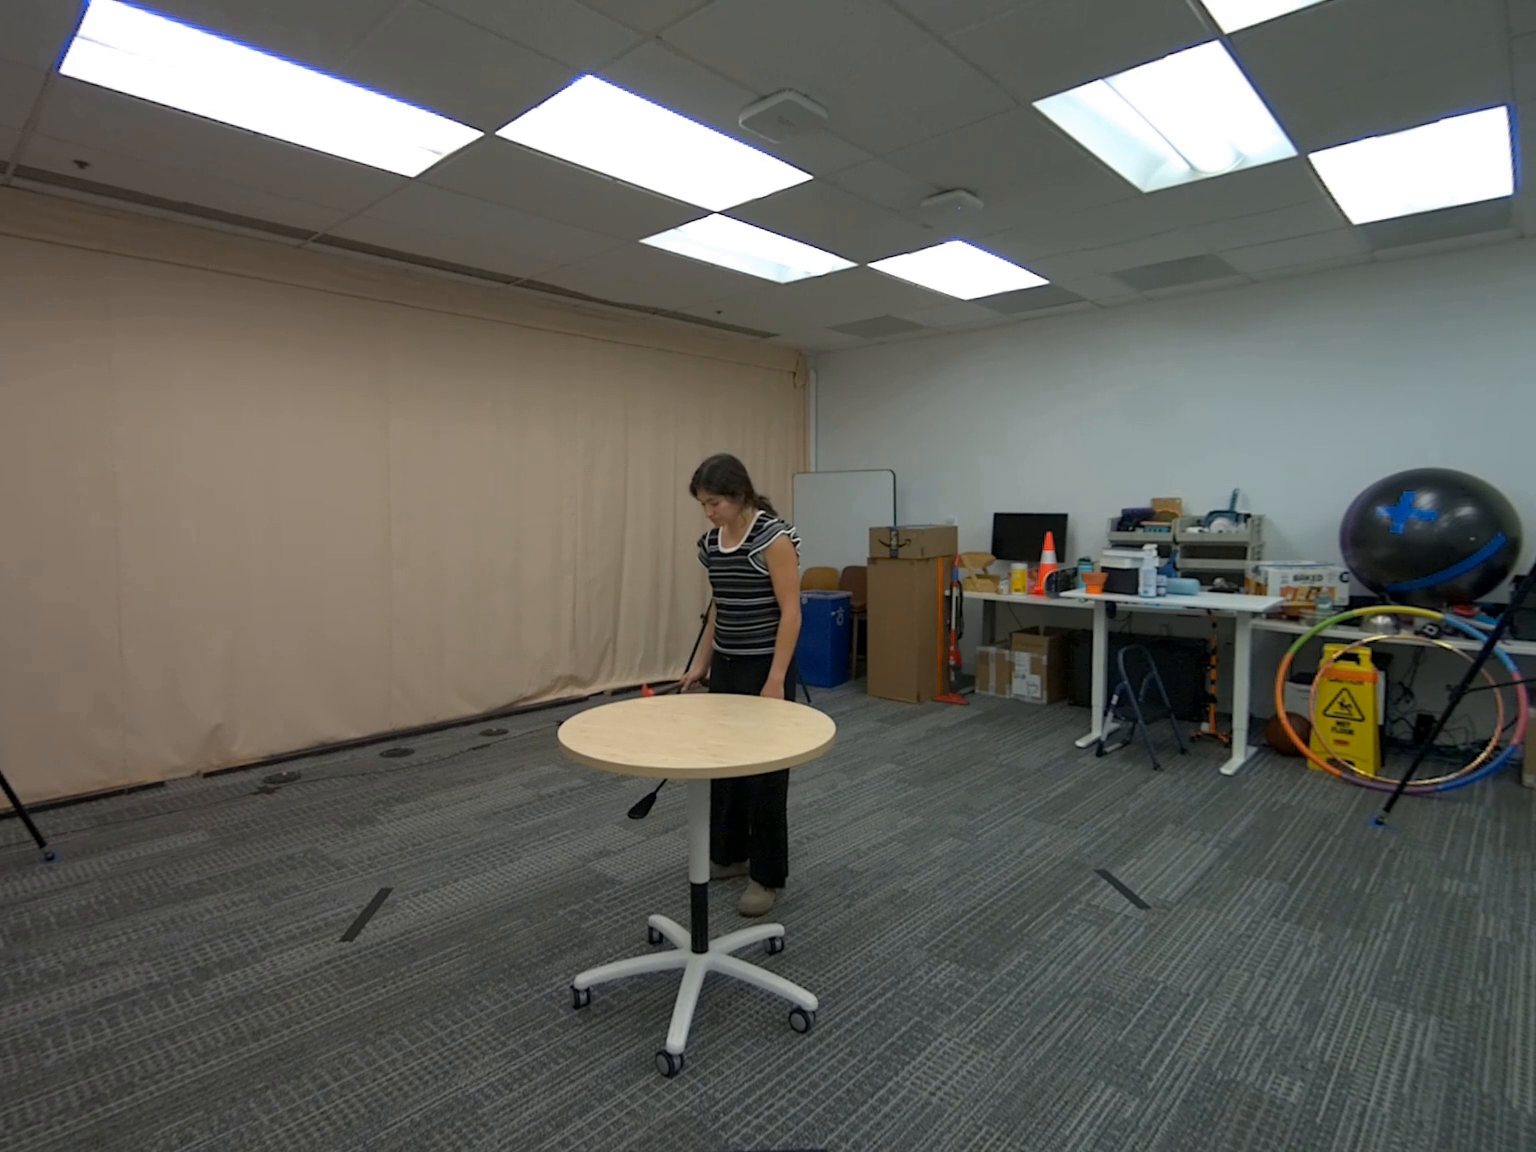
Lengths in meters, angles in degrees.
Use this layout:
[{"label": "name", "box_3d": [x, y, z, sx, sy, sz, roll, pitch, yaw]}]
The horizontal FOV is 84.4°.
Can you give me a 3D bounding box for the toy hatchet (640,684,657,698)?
[{"label": "toy hatchet", "box_3d": [-0.348, 0.461, 3.155, 0.267, 0.130, 0.030, 4, 14, -10]}]
